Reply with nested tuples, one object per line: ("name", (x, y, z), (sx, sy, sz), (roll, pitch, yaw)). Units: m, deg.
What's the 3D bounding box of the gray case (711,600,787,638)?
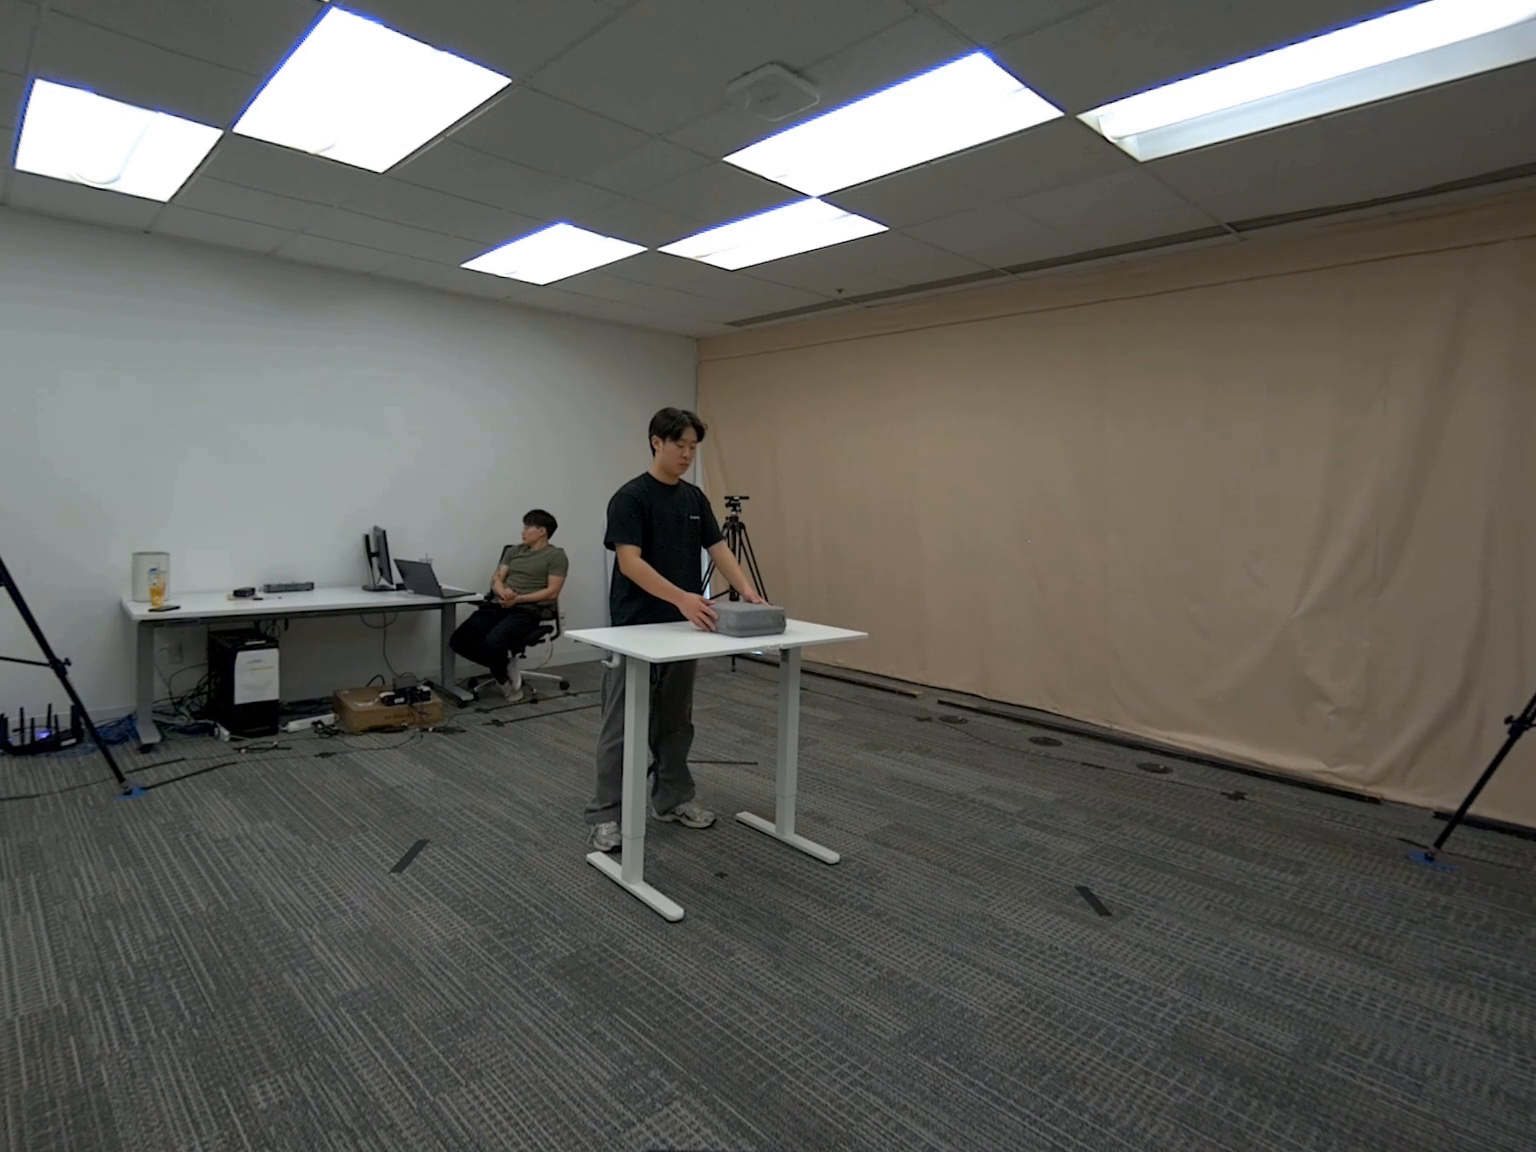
("gray case", (-0.087, 0.163, 3.215), (0.281, 0.103, 0.270), (-2, 6, -37))
